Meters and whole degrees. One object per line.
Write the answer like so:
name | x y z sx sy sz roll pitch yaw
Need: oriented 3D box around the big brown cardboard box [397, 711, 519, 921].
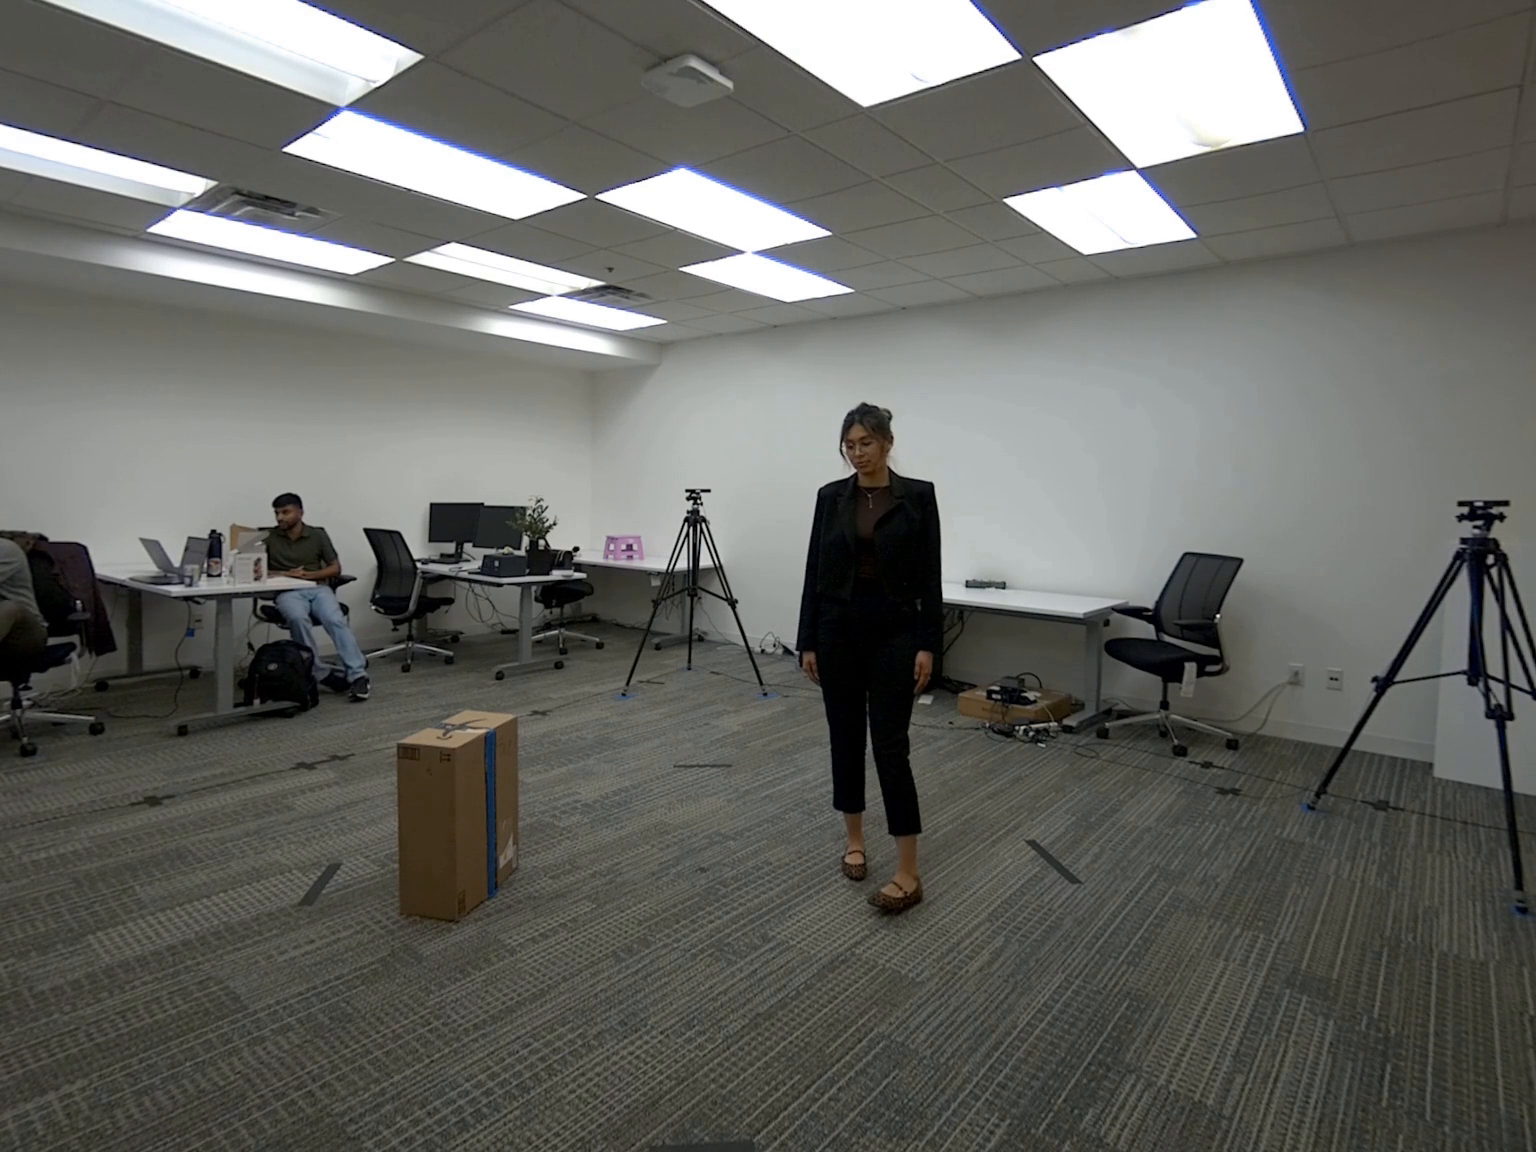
big brown cardboard box | -1.059 0.801 2.908 0.236 0.587 0.413 0 5 12
